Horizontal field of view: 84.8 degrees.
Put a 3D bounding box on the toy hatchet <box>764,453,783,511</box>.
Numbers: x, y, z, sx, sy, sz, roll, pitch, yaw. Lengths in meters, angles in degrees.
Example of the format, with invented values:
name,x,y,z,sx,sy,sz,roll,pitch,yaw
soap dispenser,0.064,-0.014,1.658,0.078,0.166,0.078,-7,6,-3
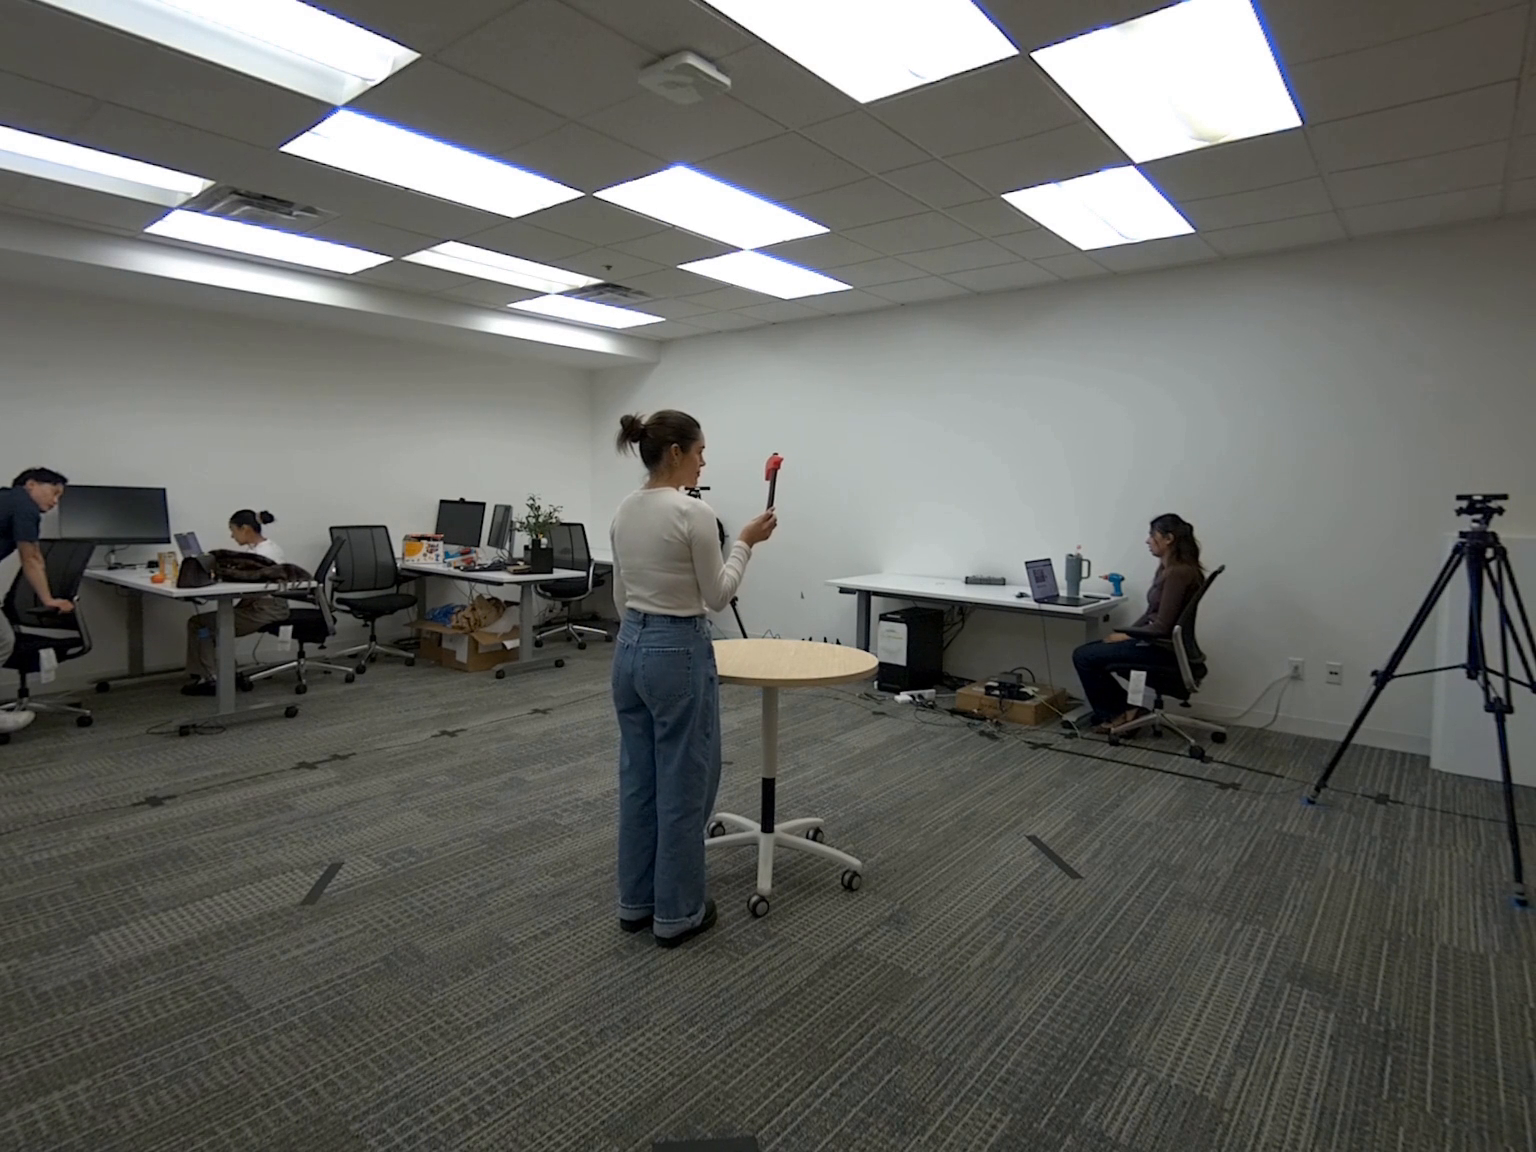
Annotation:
name,x,y,z,sx,sy,sz,roll,pitch,yaw
toy hatchet,-0.013,-0.263,2.695,0.029,0.268,0.135,8,12,-21
